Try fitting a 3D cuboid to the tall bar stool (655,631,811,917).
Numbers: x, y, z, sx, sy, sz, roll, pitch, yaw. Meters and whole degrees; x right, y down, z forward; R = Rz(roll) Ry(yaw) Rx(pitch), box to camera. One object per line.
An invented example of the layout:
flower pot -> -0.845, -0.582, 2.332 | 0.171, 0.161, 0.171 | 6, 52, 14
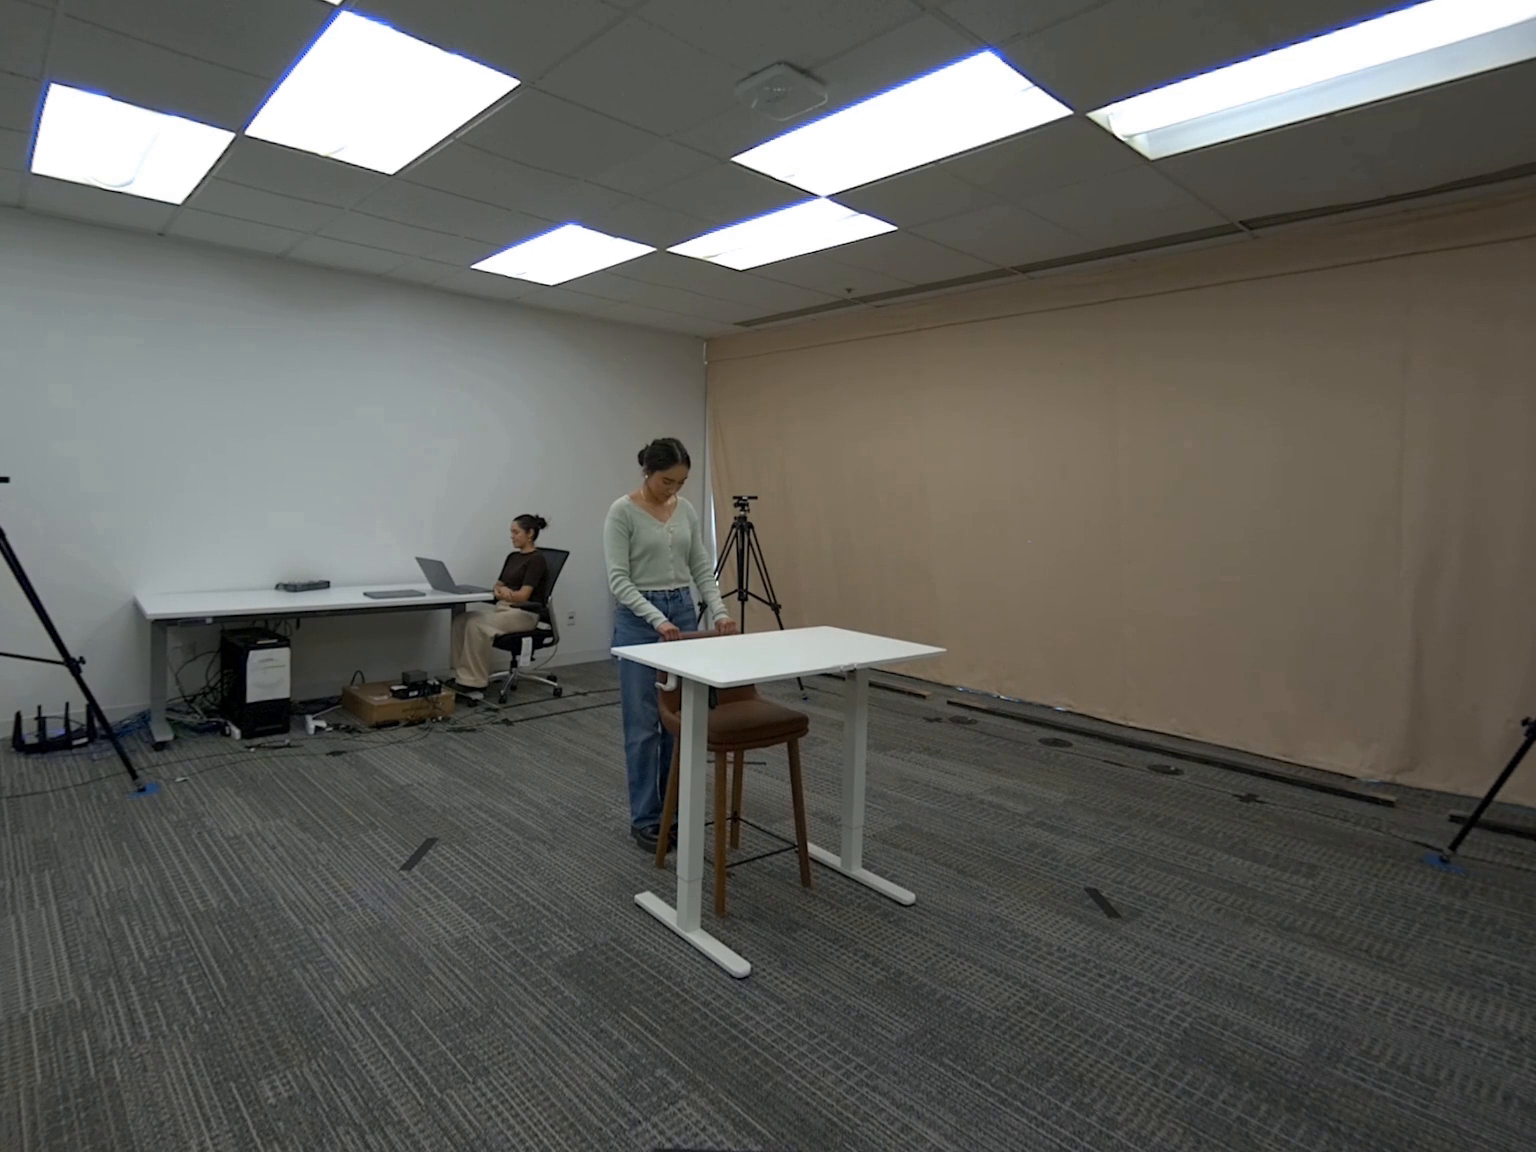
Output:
tall bar stool -> -0.144, 0.670, 3.066 | 0.446, 0.889, 0.478 | -2, 2, -37
